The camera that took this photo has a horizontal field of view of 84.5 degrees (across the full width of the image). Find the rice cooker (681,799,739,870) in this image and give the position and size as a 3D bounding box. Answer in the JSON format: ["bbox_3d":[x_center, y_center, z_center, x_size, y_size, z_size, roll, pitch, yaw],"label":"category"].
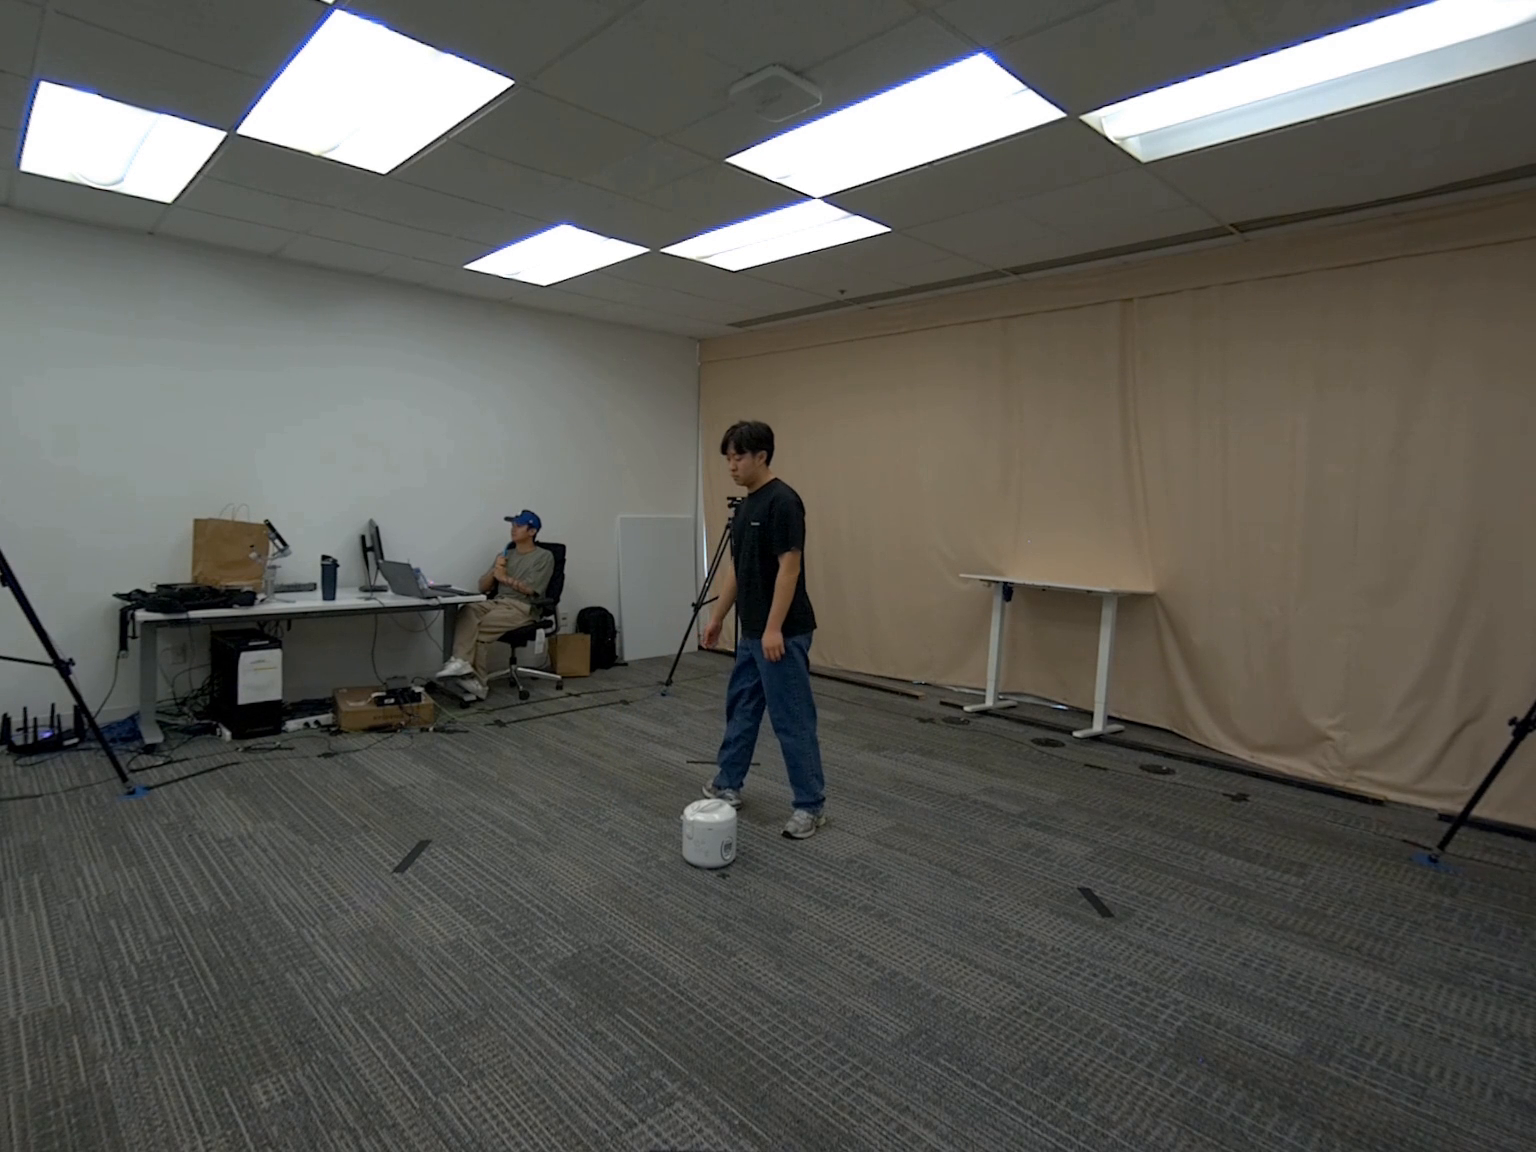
[{"bbox_3d":[-0.228,0.979,3.230,0.215,0.232,0.223,-2,5,-42],"label":"rice cooker"}]
